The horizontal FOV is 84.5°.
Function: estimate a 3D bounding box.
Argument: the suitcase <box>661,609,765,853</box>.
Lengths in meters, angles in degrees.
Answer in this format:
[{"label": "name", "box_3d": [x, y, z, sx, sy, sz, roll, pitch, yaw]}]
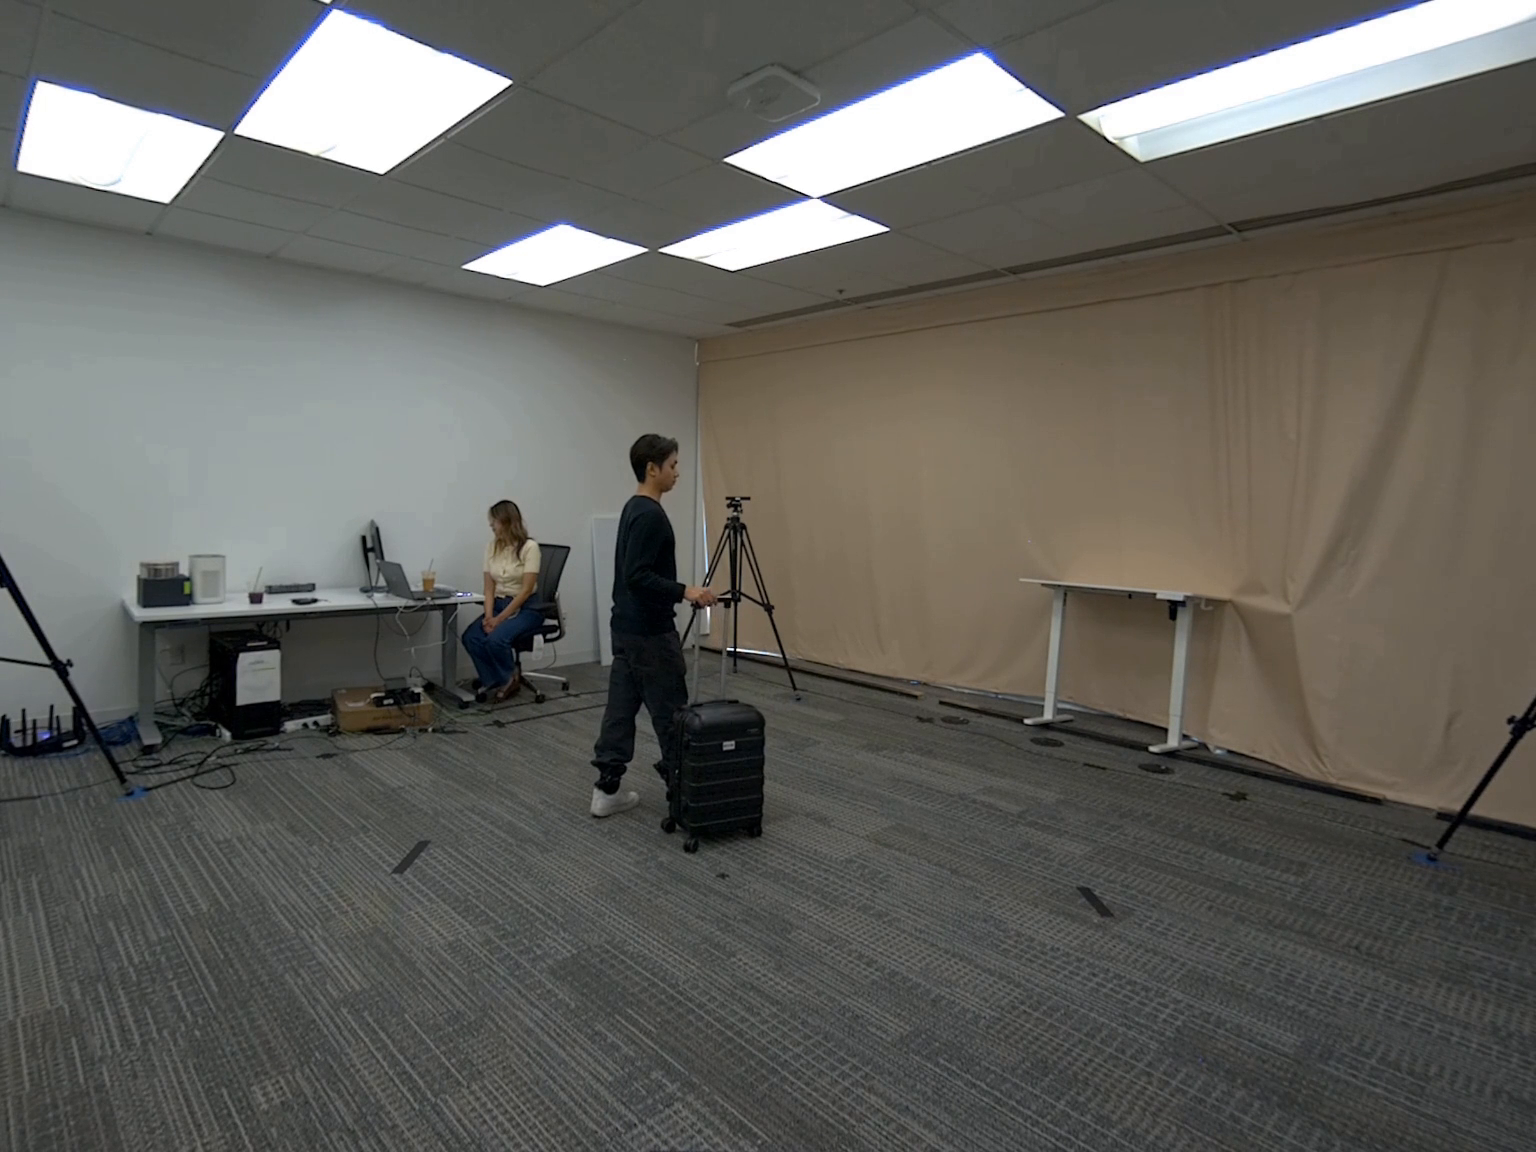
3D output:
[{"label": "suitcase", "box_3d": [-0.202, 0.596, 3.452, 0.377, 0.975, 0.263, 1, 6, -25]}]
